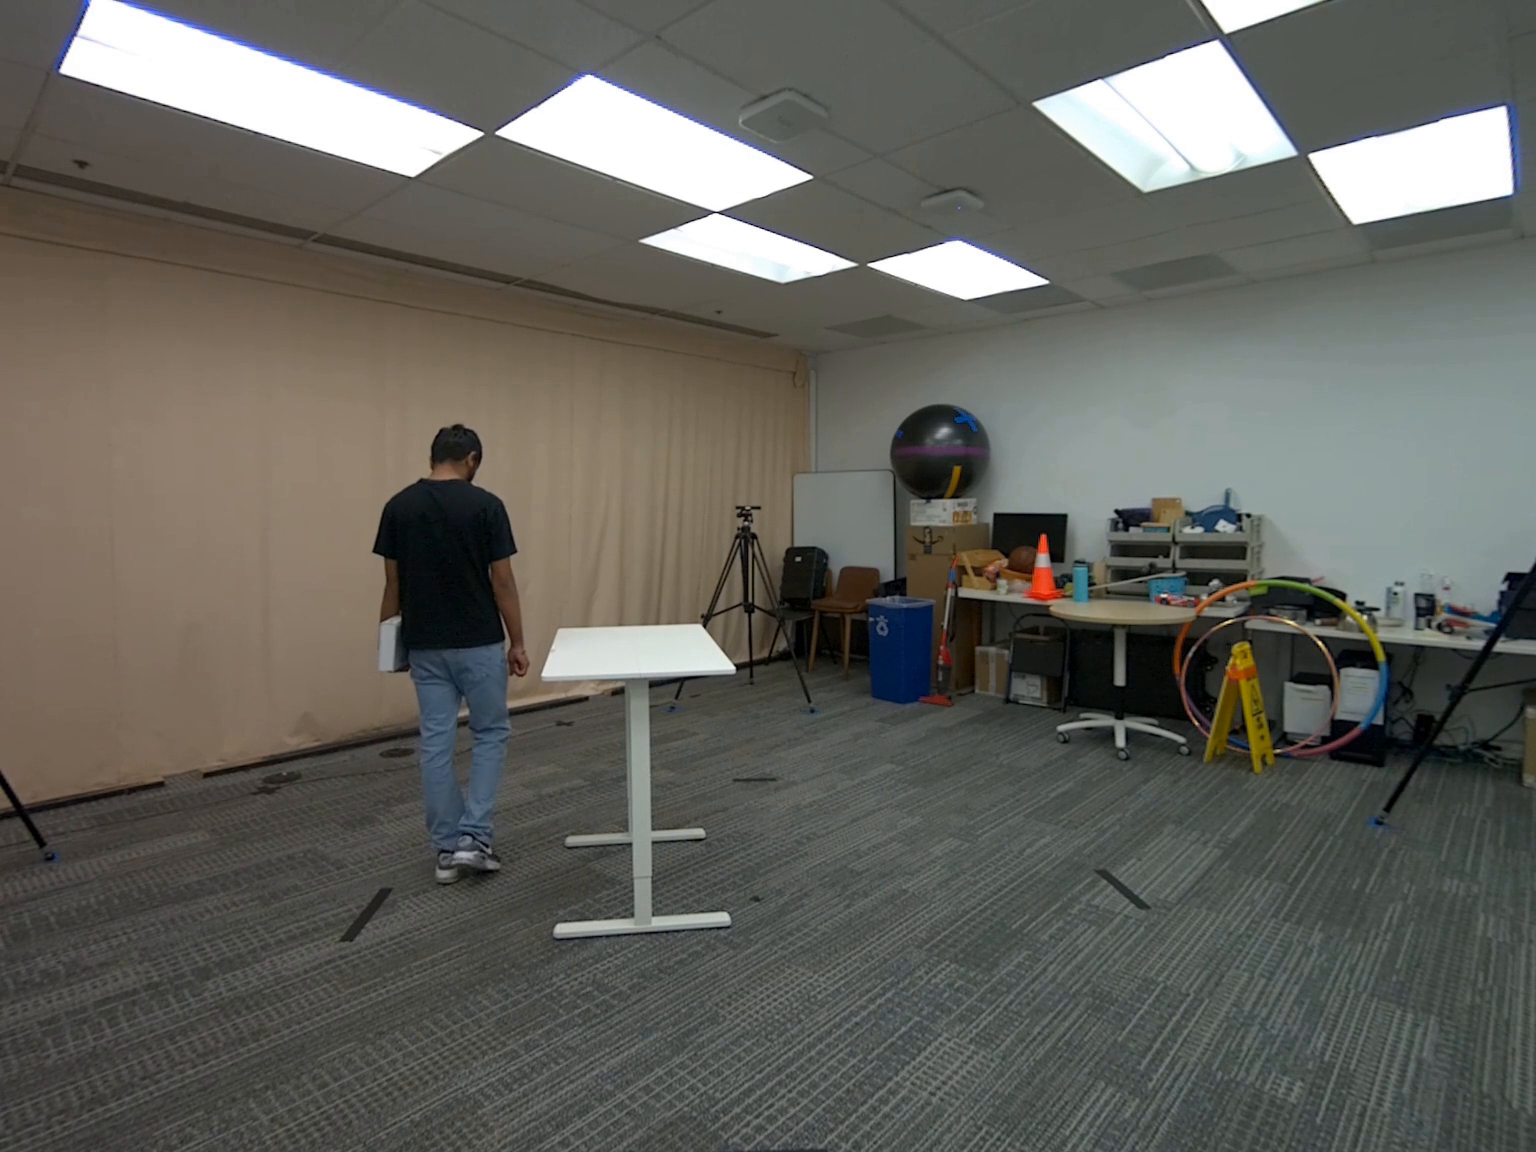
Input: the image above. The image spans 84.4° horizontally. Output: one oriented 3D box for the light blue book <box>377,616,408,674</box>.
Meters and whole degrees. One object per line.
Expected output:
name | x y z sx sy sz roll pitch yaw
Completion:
light blue book | -1.377 0.239 3.174 0.059 0.190 0.262 6 11 0
